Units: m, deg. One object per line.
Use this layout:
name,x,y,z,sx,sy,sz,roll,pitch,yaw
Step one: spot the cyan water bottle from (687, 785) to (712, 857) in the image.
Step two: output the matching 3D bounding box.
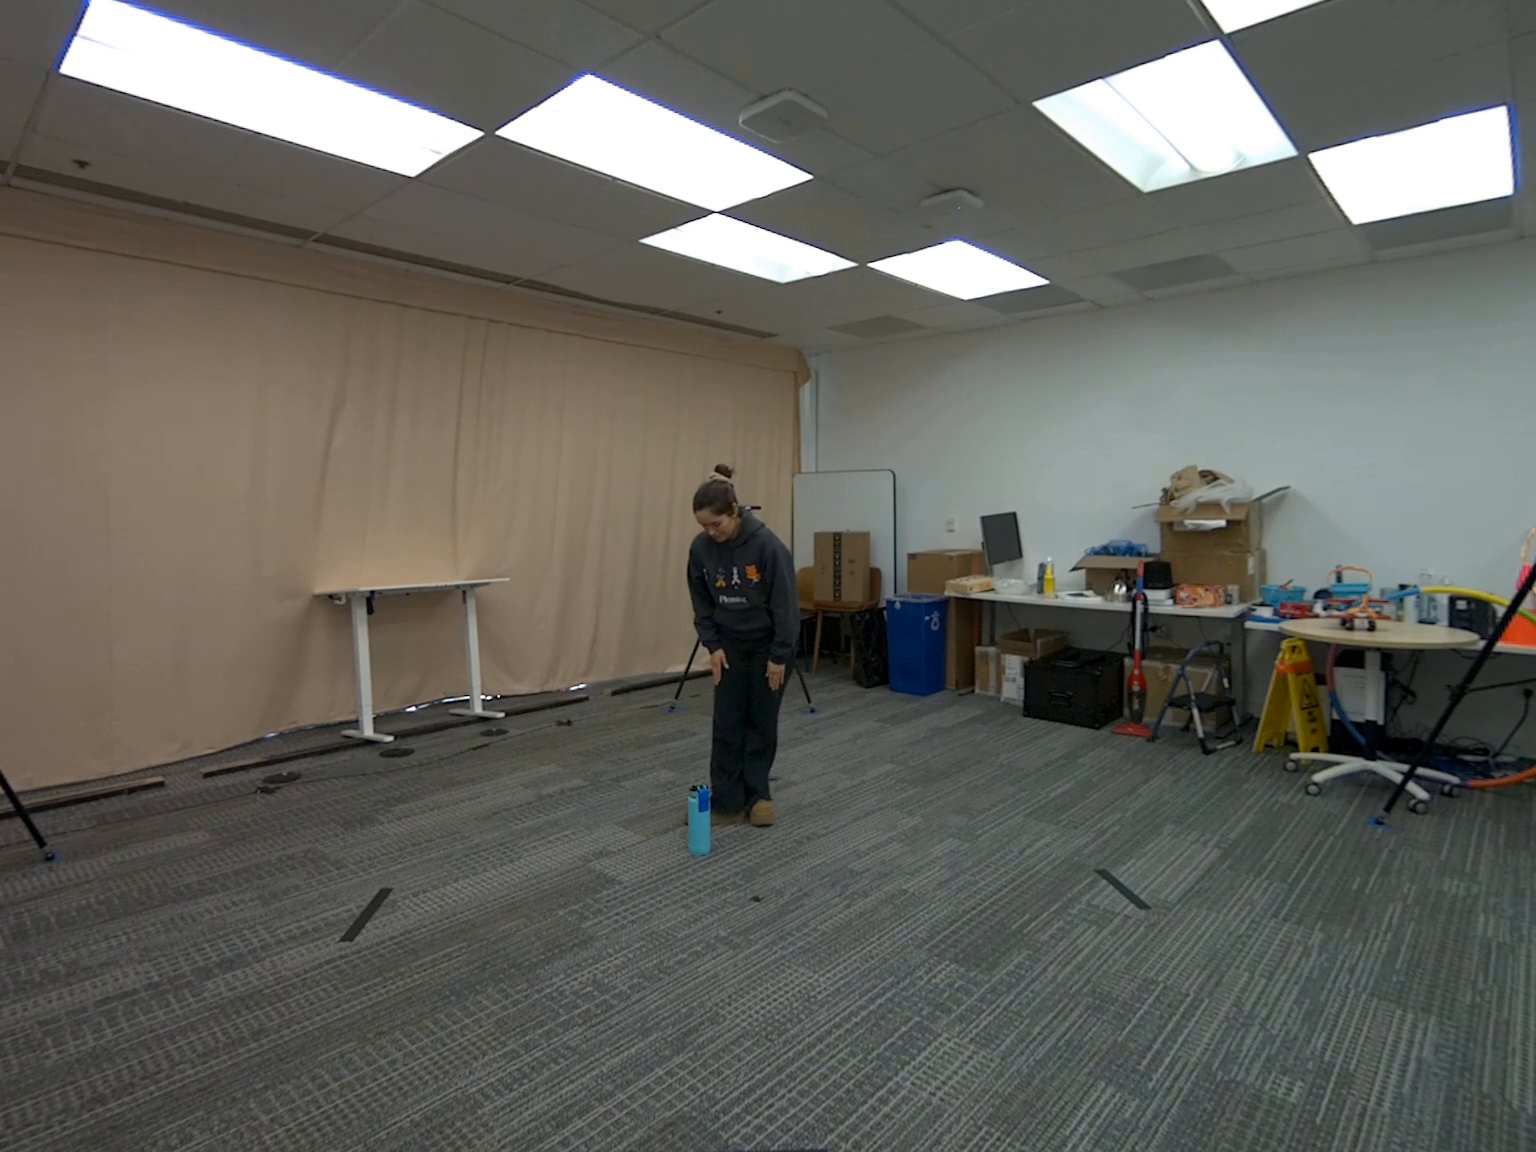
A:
cyan water bottle,-0.260,0.969,3.394,0.092,0.283,0.092,-1,2,-2
